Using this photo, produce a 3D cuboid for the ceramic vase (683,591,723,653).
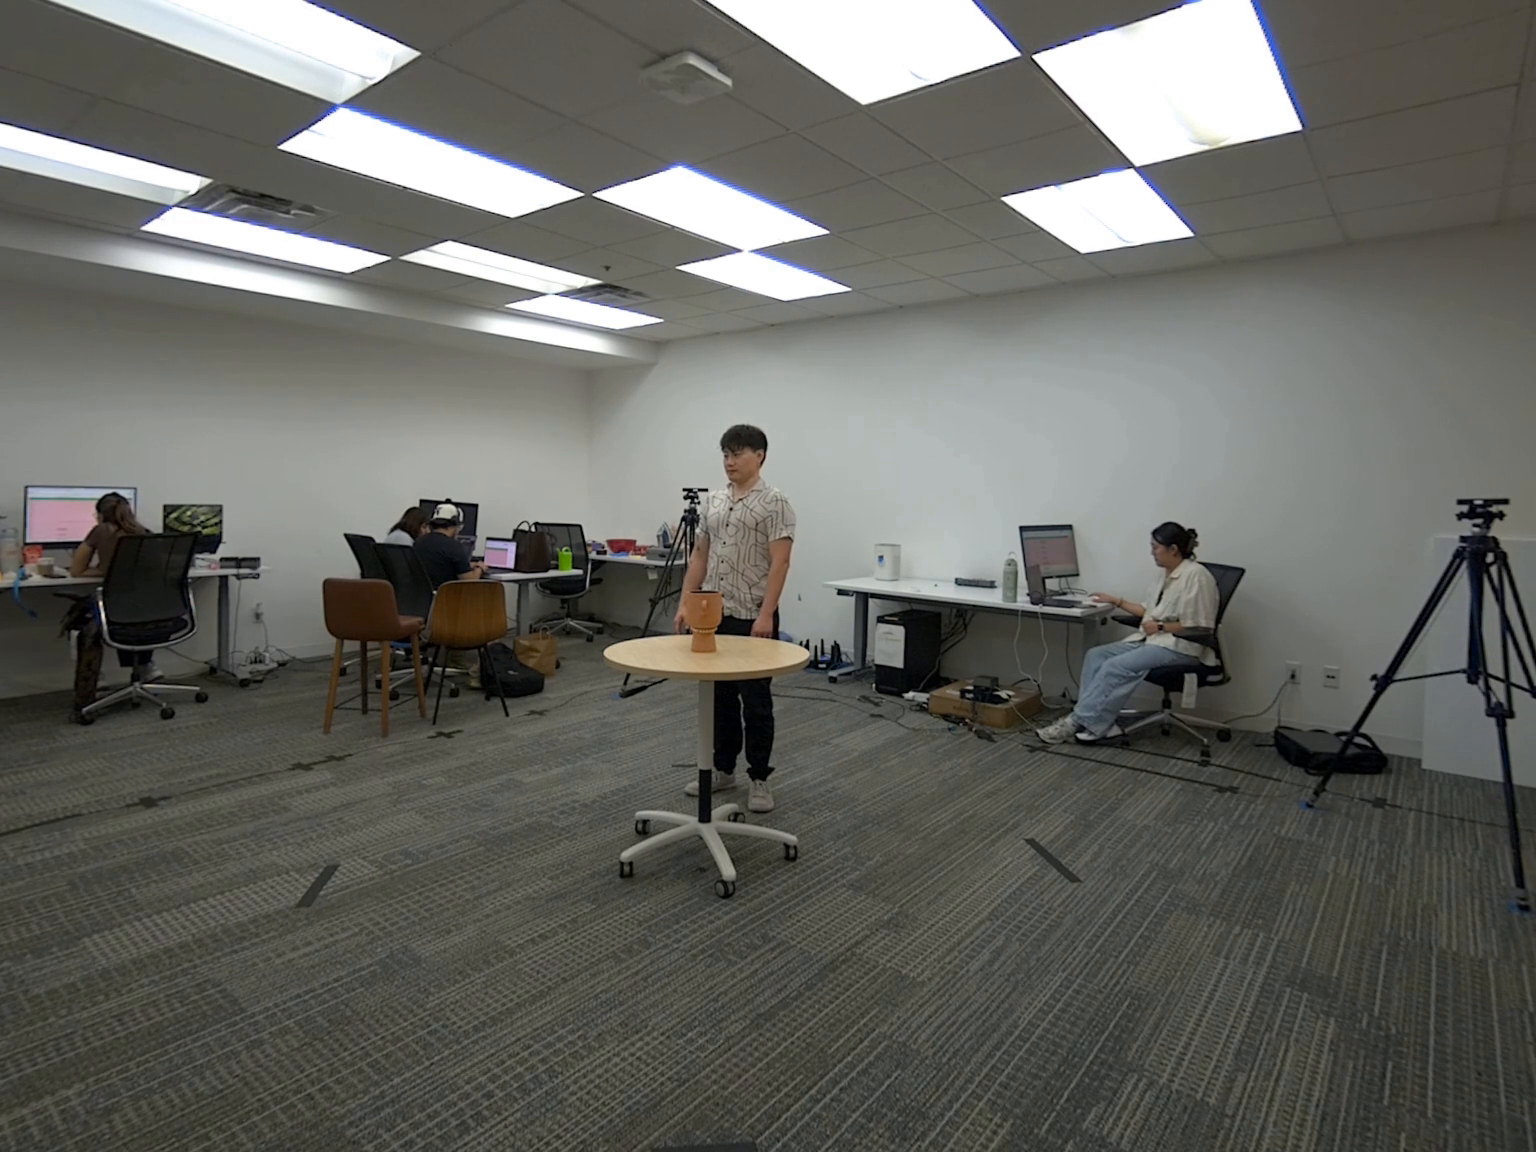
[{"bbox_3d":[-0.252,0.168,3.192,0.139,0.219,0.154,2,3,35],"label":"ceramic vase"}]
